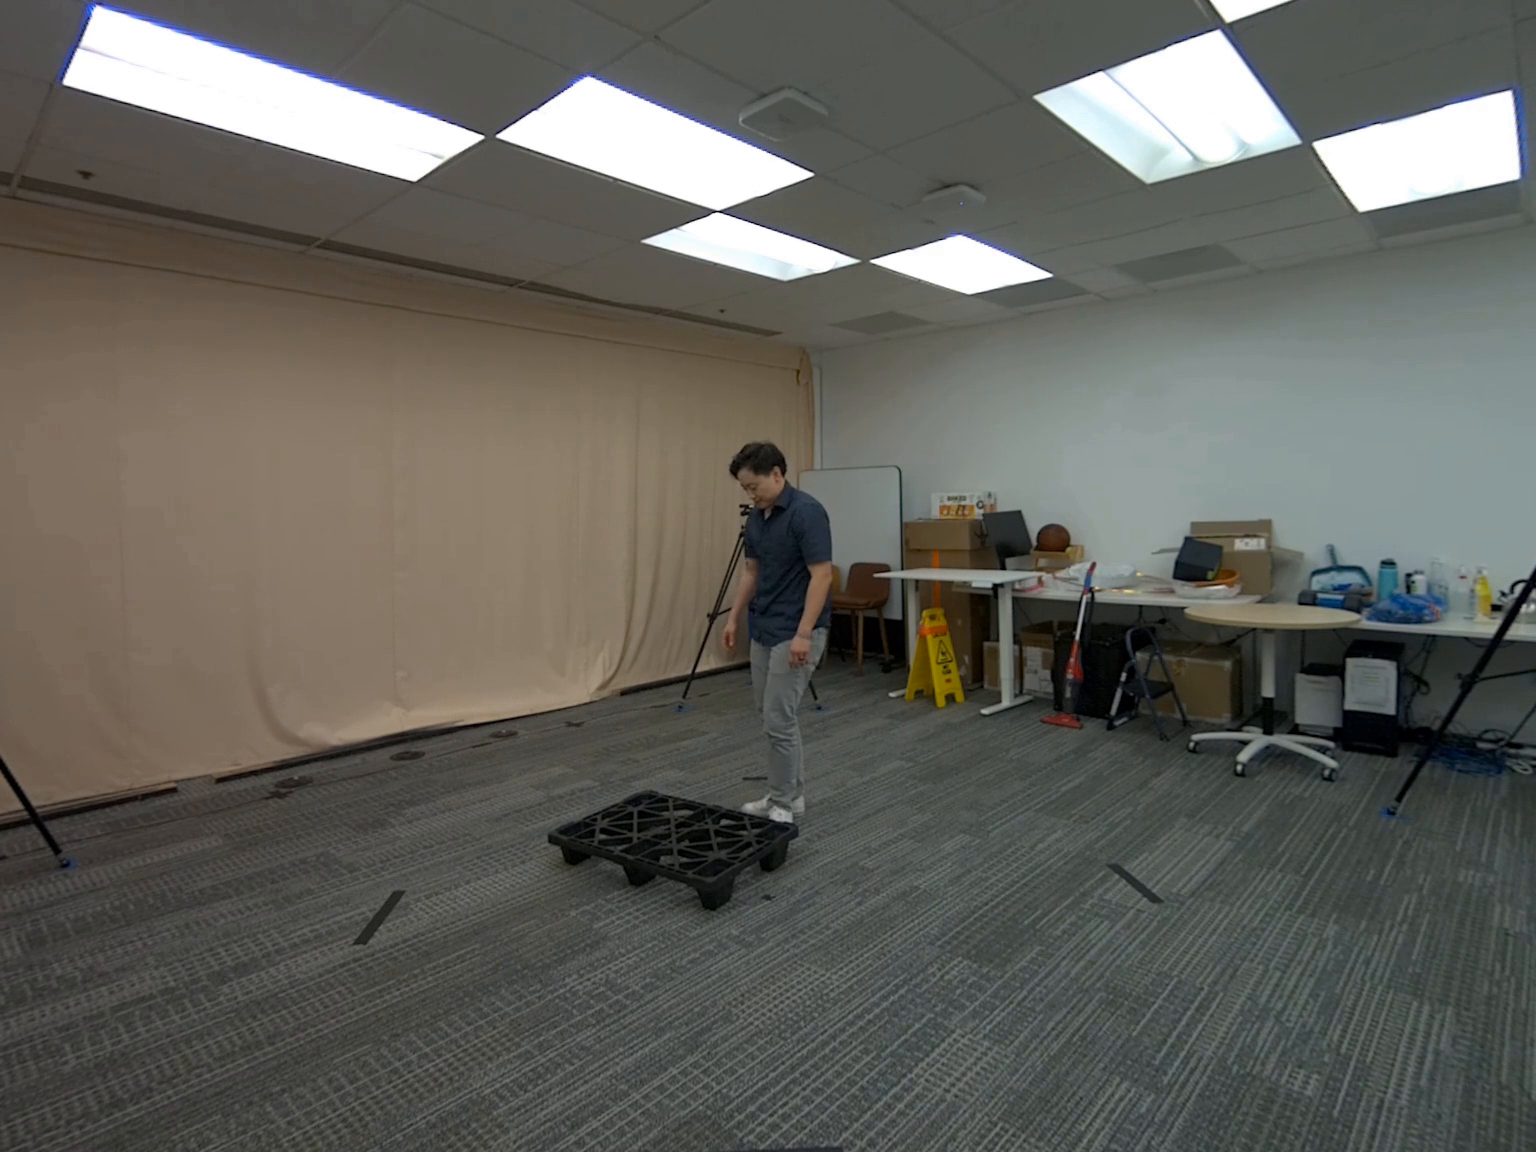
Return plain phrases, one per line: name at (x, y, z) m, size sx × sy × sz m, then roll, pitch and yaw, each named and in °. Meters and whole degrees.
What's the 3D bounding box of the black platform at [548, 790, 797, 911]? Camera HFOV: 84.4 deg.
black platform at (-0.371, 1.056, 3.287) m, size 0.830 × 0.143 × 0.588 m, roll 2°, pitch 5°, yaw 34°
